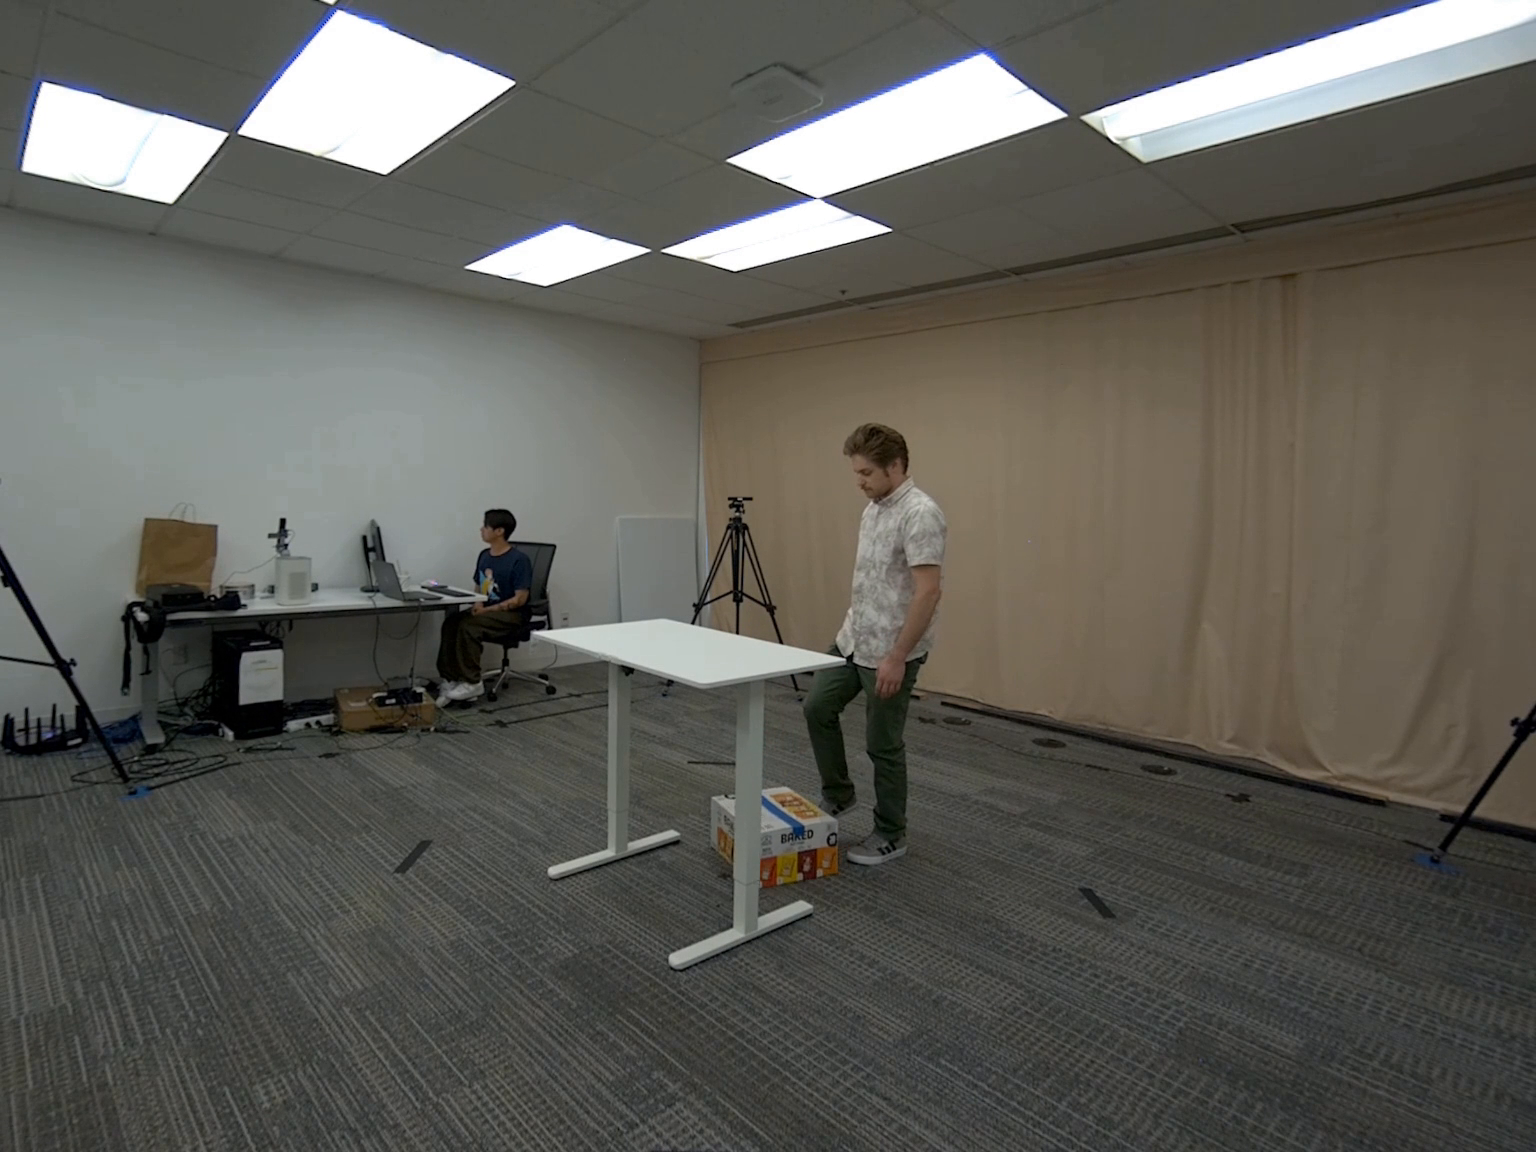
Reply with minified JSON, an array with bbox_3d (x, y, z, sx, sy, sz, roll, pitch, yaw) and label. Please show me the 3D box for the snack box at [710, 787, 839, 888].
[{"bbox_3d":[0.002,0.997,3.240,0.334,0.205,0.414,-1,5,-27],"label":"snack box"}]
